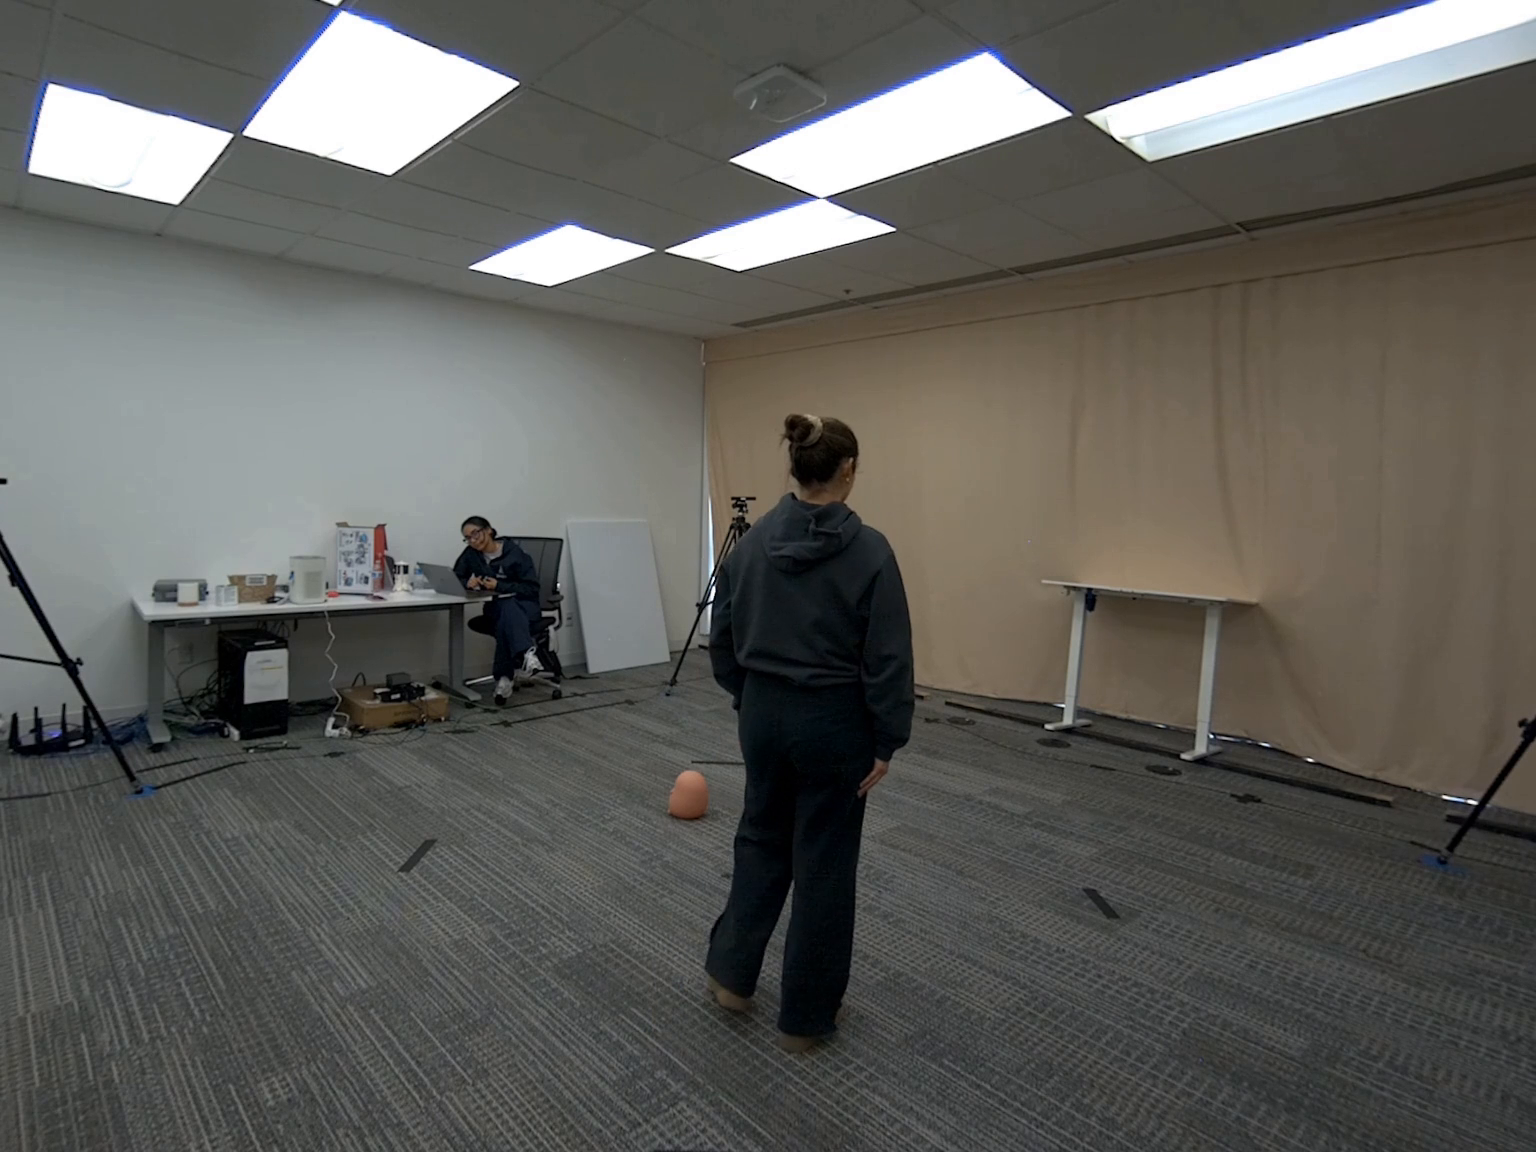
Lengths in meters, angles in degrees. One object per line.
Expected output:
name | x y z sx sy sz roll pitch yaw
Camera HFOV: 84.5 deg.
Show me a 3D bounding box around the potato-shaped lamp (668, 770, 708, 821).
potato-shaped lamp | -0.361 0.950 3.693 0.175 0.198 0.161 4 2 36
